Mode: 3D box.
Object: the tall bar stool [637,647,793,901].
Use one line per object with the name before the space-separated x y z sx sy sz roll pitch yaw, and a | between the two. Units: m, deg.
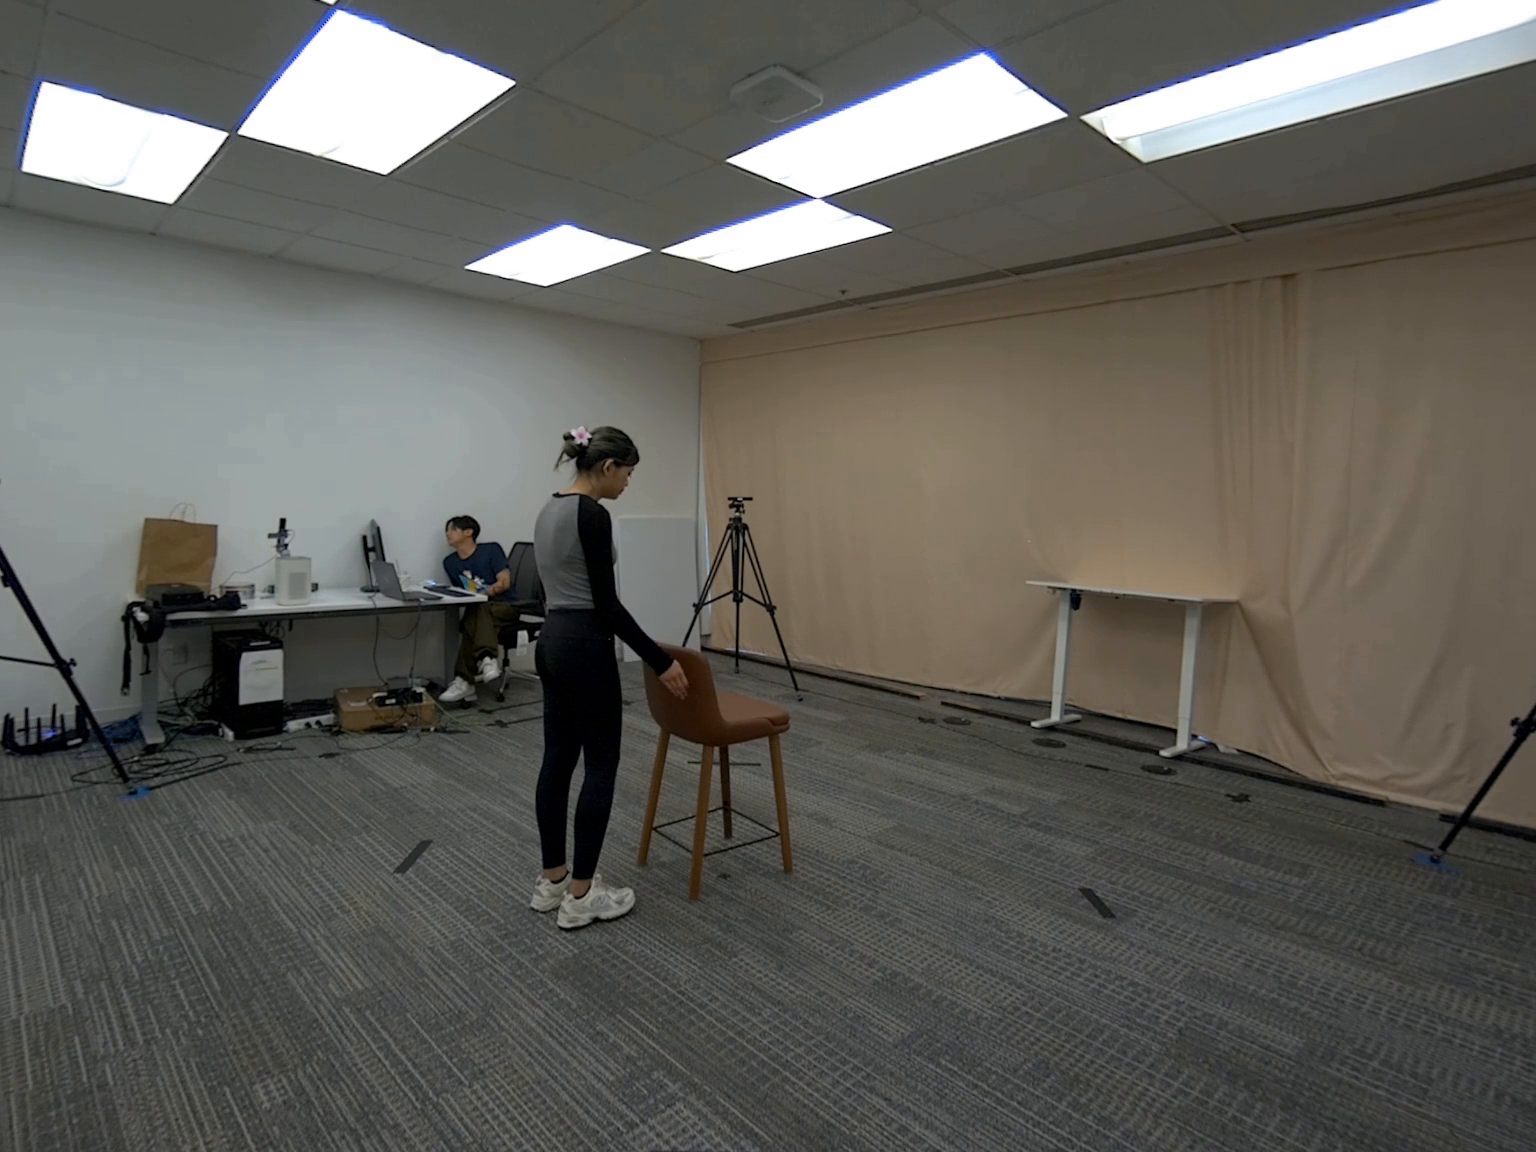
tall bar stool | -0.208 0.665 3.150 0.457 0.887 0.468 -4 5 -38
